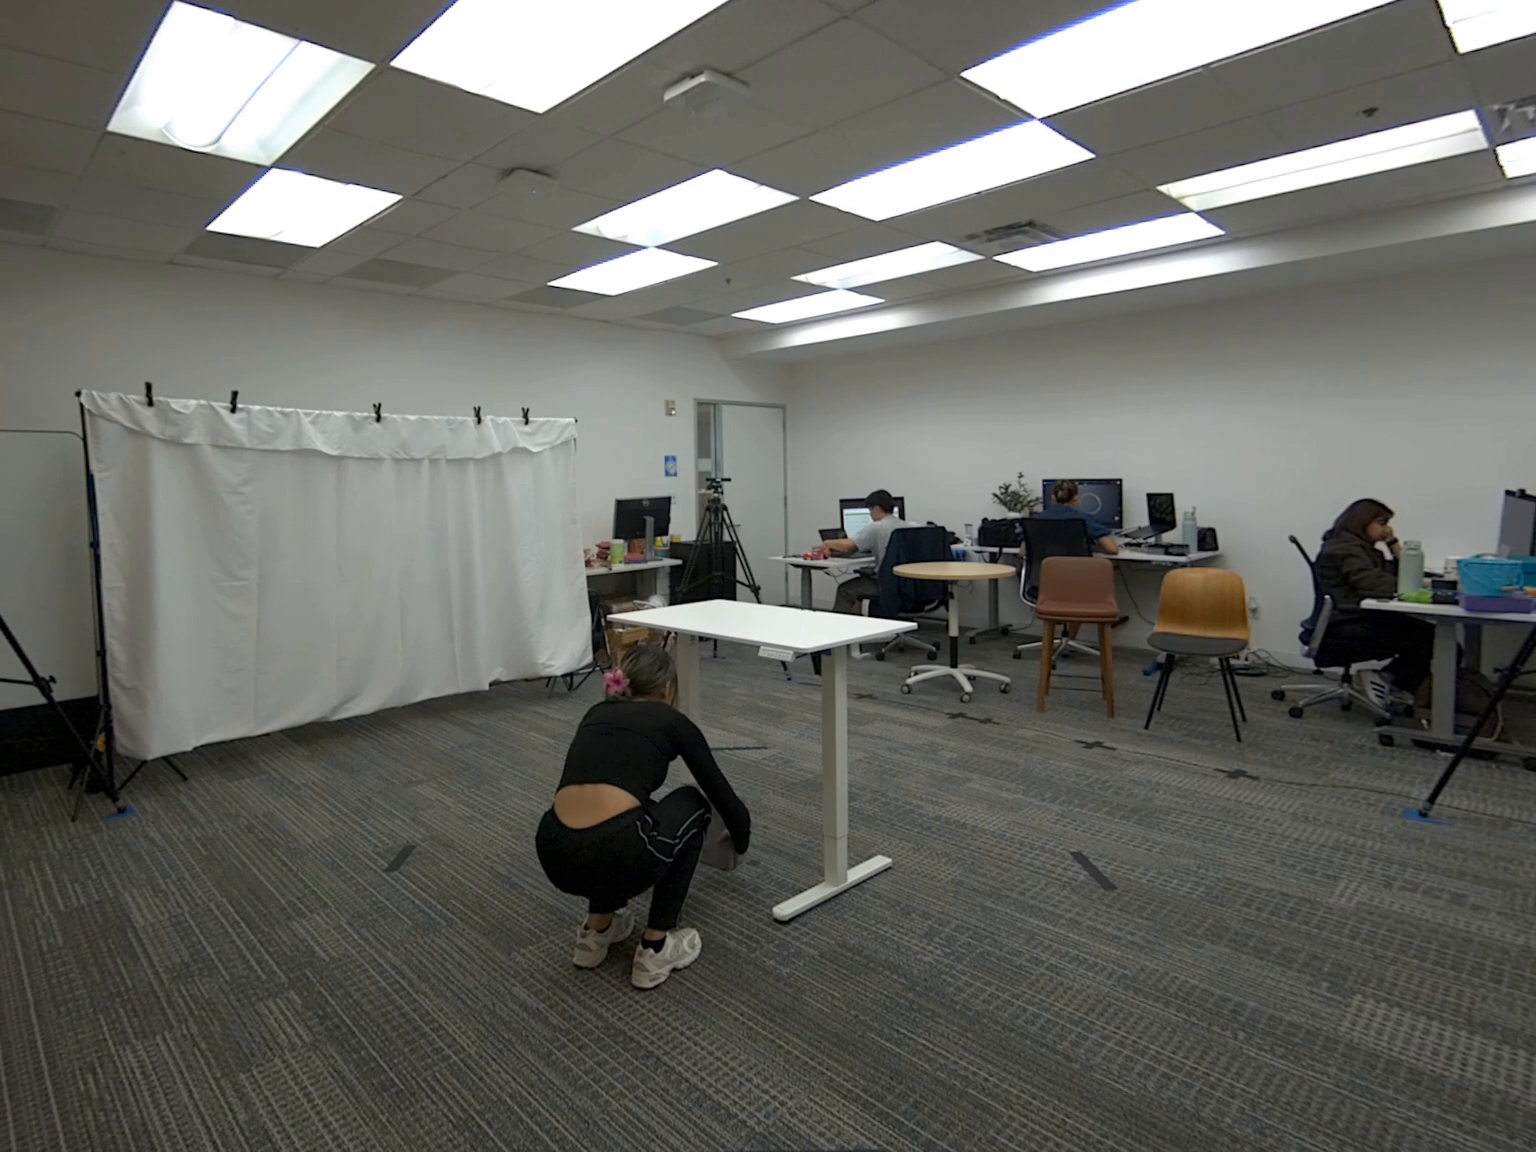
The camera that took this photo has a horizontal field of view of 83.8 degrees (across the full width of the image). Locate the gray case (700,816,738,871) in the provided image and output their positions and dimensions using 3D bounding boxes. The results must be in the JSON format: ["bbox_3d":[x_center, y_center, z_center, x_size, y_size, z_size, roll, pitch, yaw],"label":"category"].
[{"bbox_3d":[-0.200,0.852,2.922,0.264,0.261,0.101,3,0,36],"label":"gray case"}]
